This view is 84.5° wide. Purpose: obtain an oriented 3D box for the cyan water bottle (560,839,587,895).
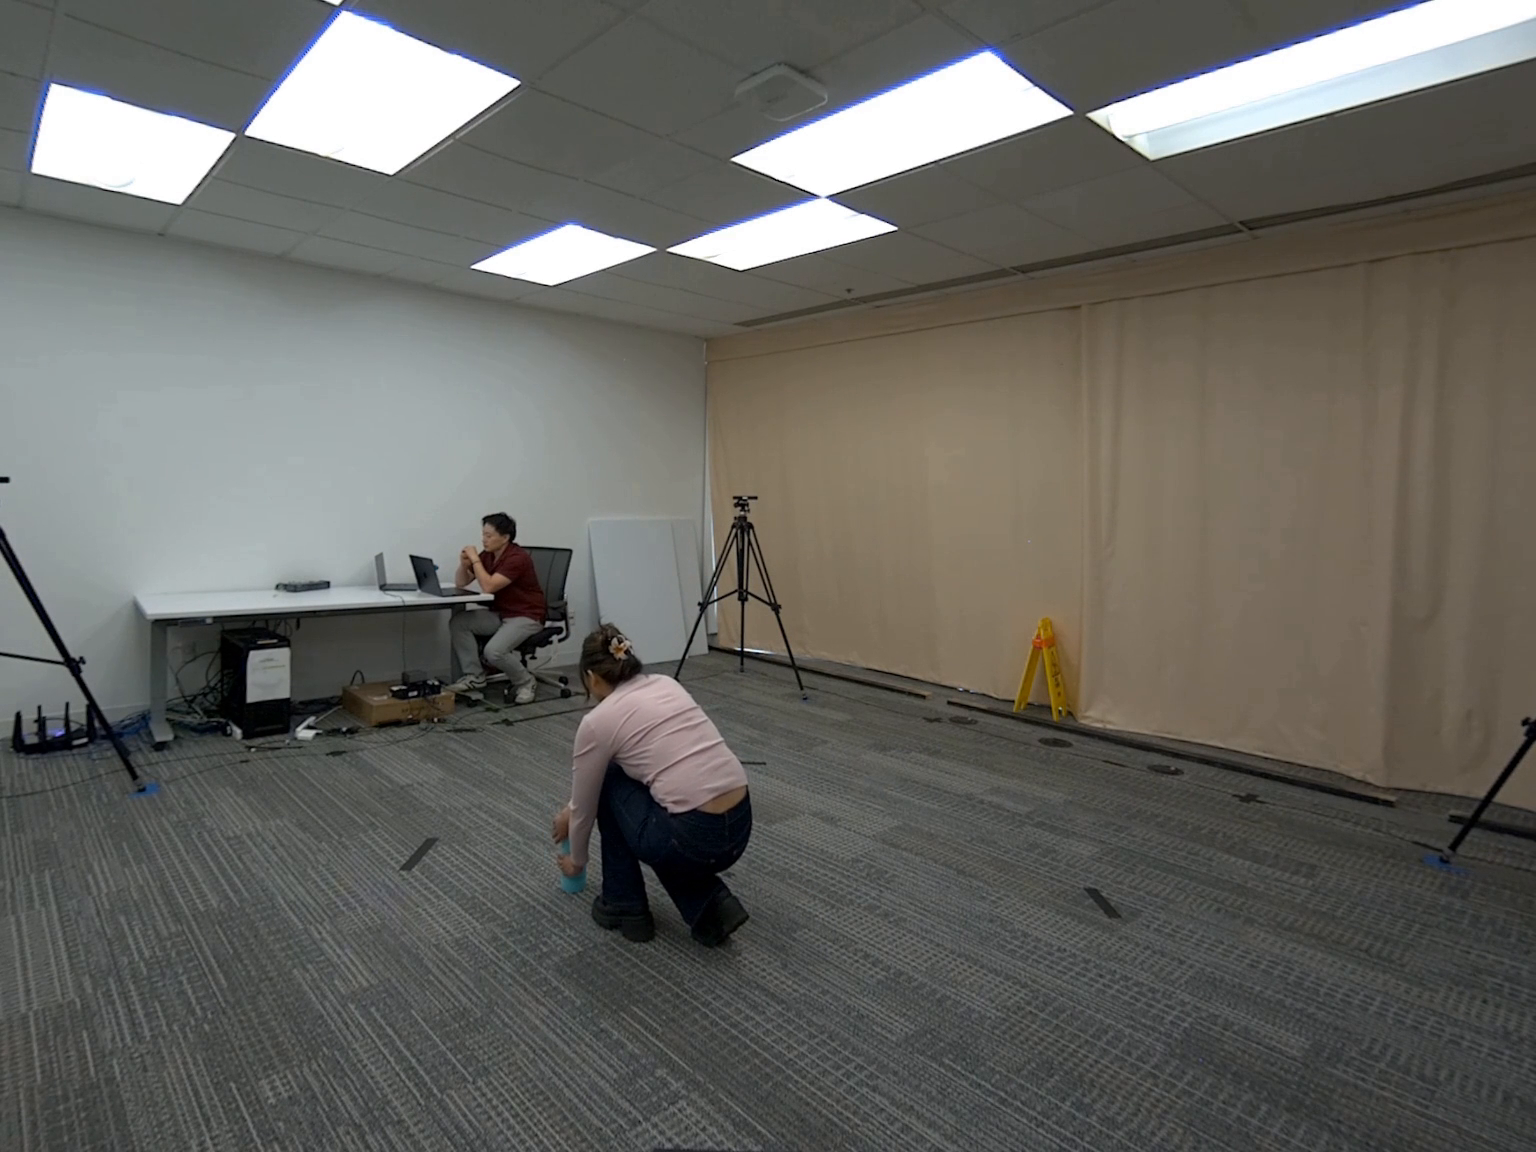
[{"bbox_3d":[-0.691,0.972,2.970,0.092,0.282,0.093,3,4,-2],"label":"cyan water bottle"}]
